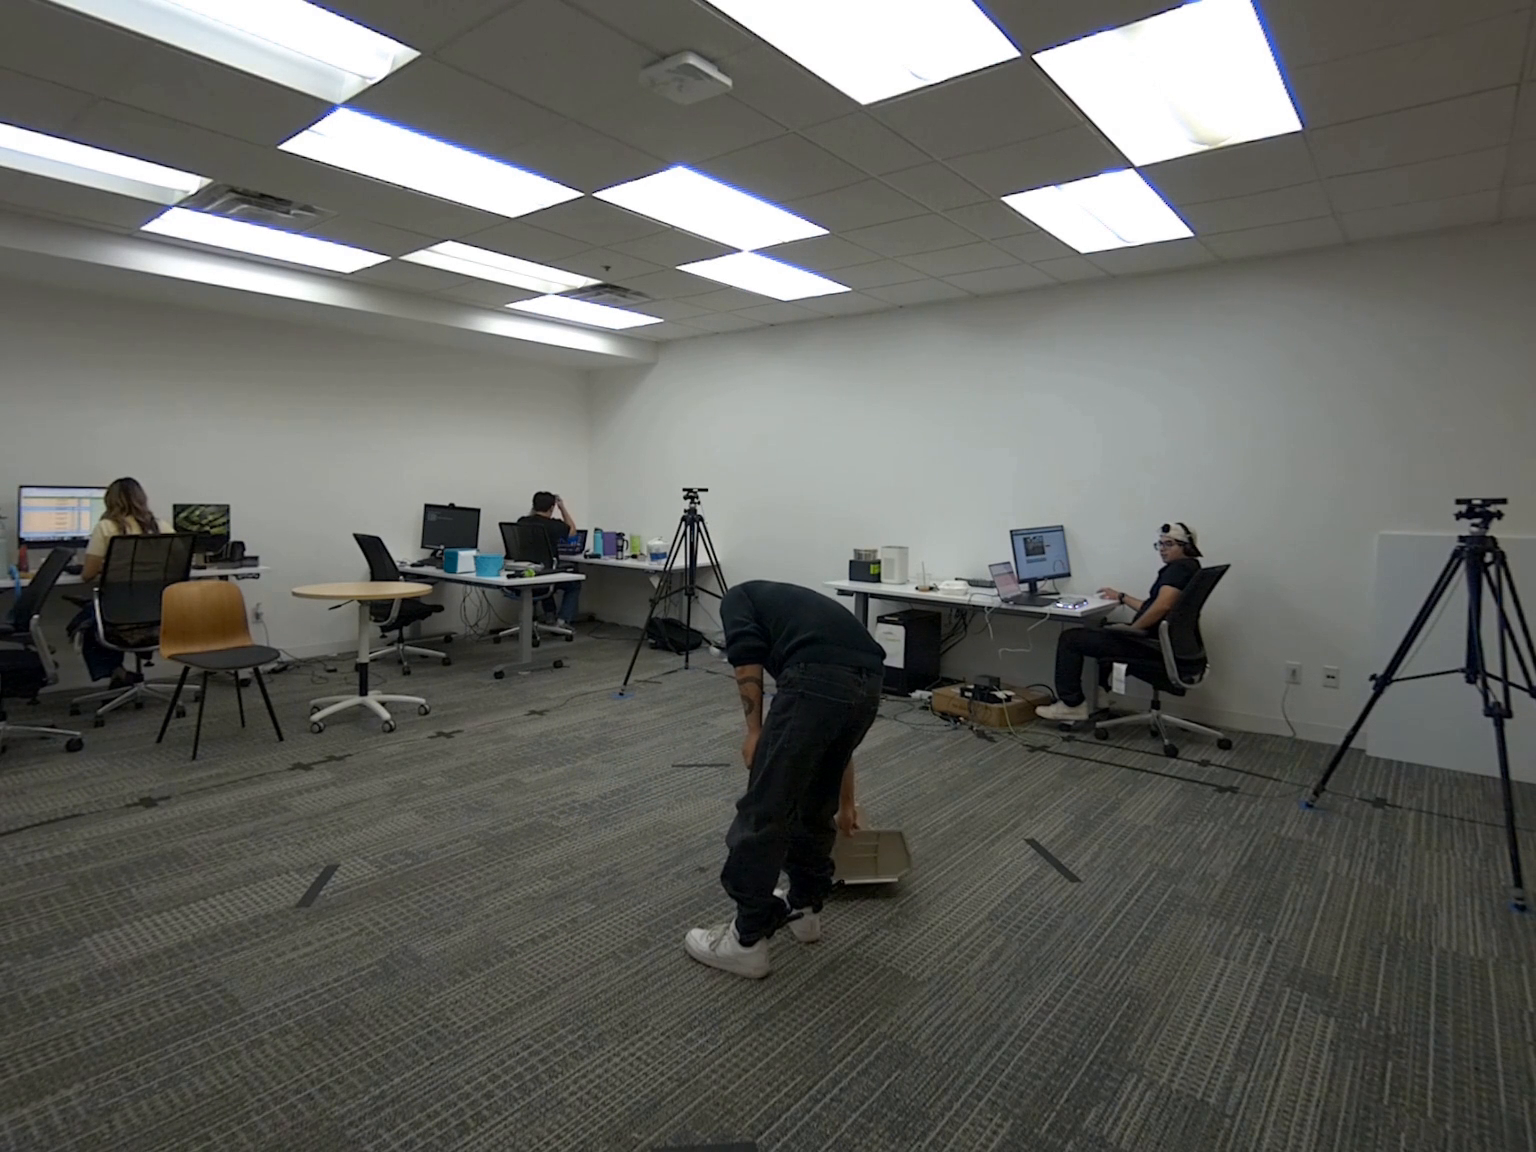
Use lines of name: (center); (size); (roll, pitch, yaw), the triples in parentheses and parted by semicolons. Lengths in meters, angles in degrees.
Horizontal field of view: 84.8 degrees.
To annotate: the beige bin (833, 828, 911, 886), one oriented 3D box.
beige bin: (0.262, 0.964, 3.106); (0.372, 0.189, 0.427); (0, -1, -13)
